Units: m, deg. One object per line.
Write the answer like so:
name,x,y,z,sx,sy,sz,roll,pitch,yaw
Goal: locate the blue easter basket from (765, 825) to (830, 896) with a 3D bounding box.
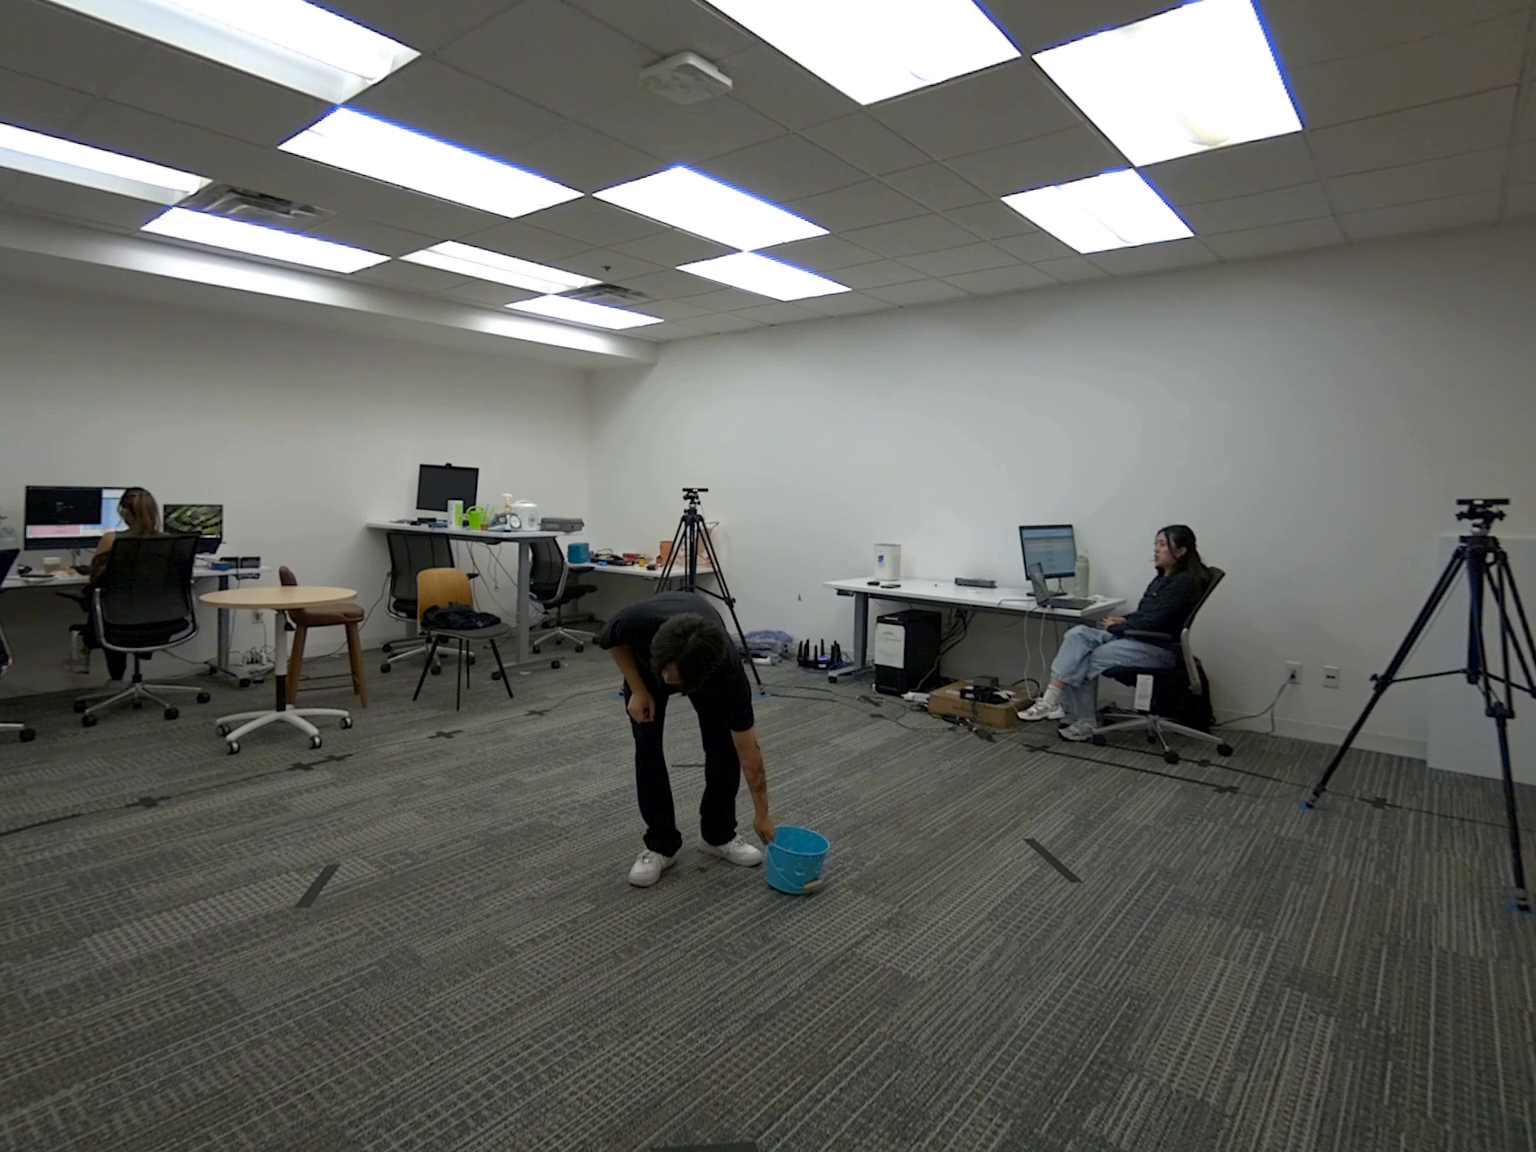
blue easter basket,0.087,1.001,3.013,0.243,0.155,0.245,6,5,-2
